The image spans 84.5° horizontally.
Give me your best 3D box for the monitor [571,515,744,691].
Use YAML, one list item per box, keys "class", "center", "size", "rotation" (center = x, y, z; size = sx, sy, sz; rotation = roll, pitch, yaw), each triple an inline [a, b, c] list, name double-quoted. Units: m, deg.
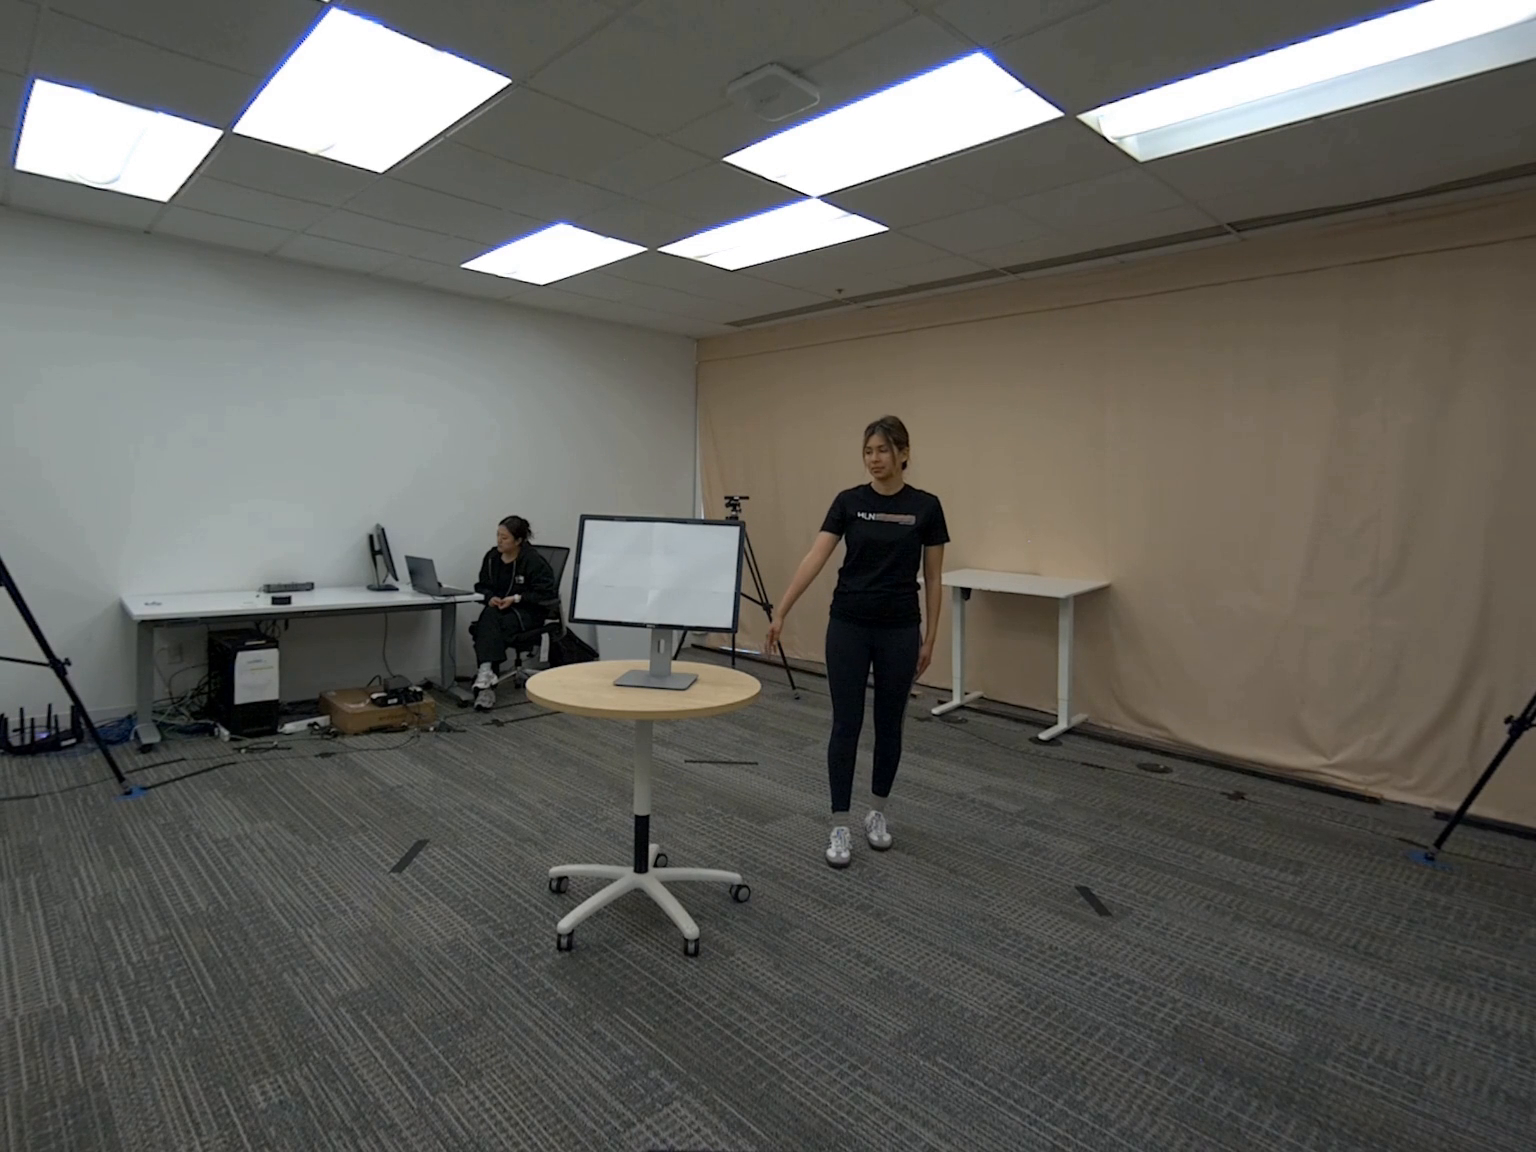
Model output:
- class: "monitor"
  center: [-0.360, 0.088, 2.765]
  size: [0.543, 0.521, 0.186]
  rotation: [3, 3, 8]
